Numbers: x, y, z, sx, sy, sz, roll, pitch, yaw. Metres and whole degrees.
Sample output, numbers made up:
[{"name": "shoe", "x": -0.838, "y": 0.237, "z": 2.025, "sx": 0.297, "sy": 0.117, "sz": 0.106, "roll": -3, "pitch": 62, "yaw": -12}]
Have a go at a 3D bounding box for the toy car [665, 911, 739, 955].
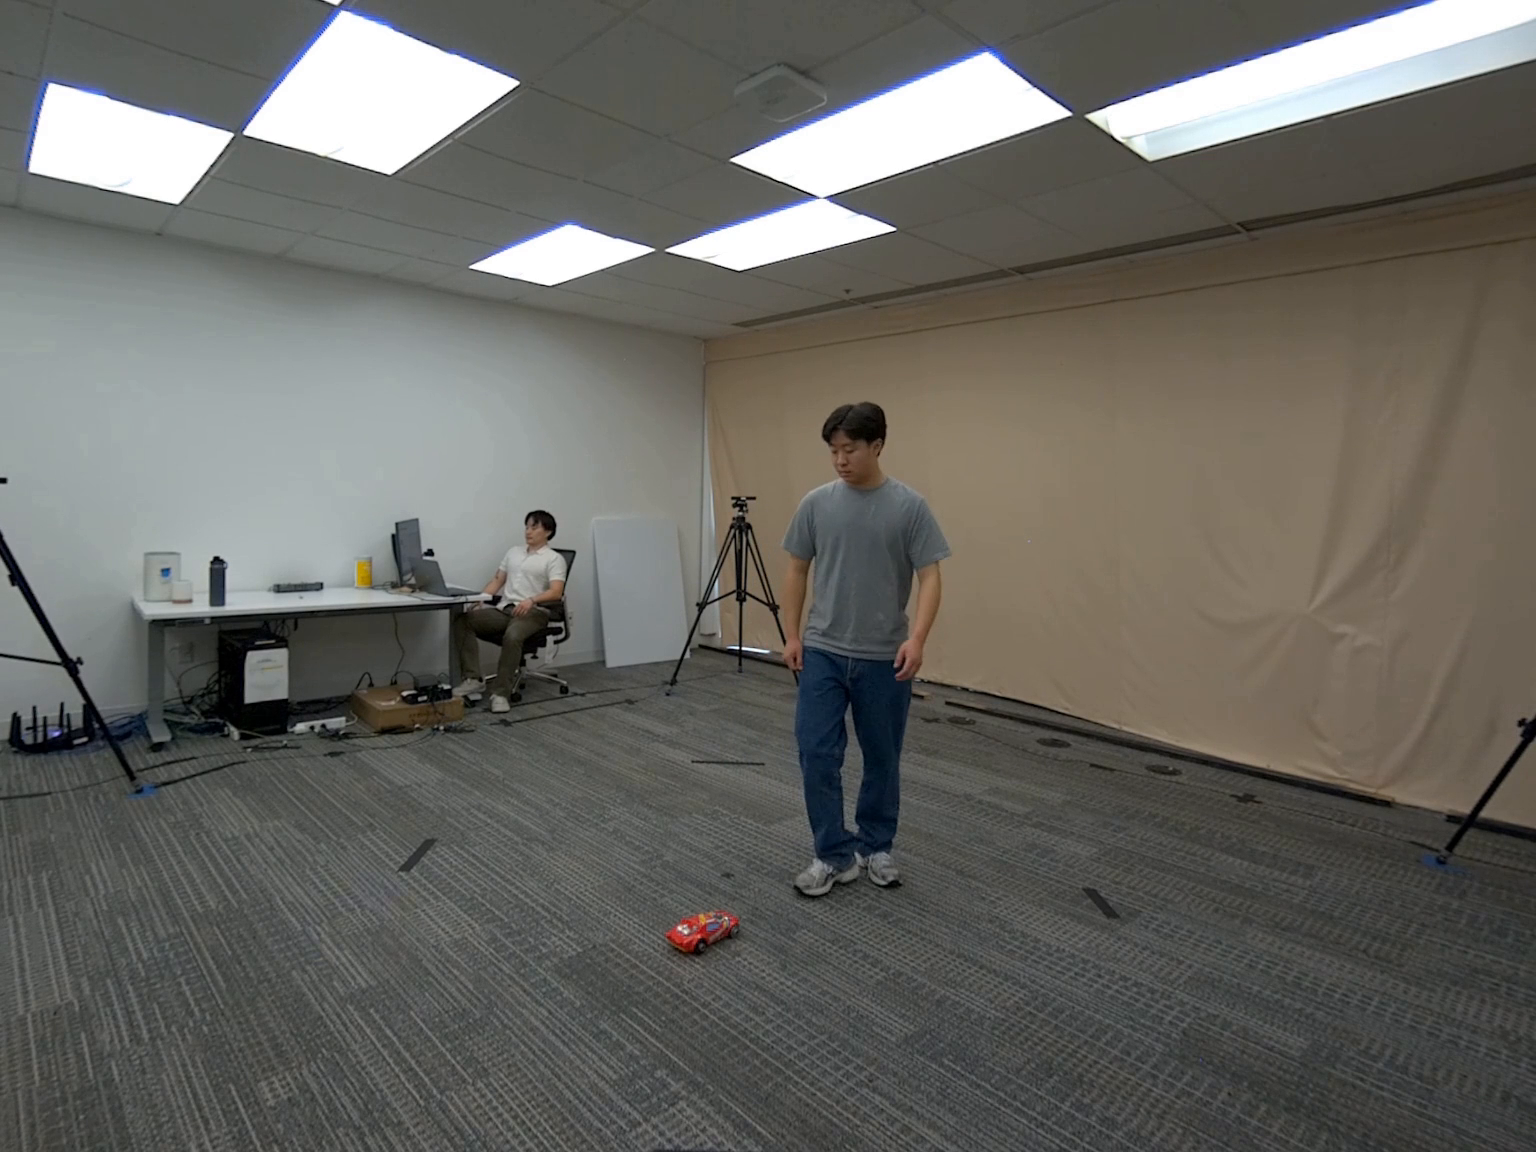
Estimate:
[{"name": "toy car", "x": -0.216, "y": 1.114, "z": 2.629, "sx": 0.133, "sy": 0.083, "sz": 0.247, "roll": 5, "pitch": -5, "yaw": 45}]
